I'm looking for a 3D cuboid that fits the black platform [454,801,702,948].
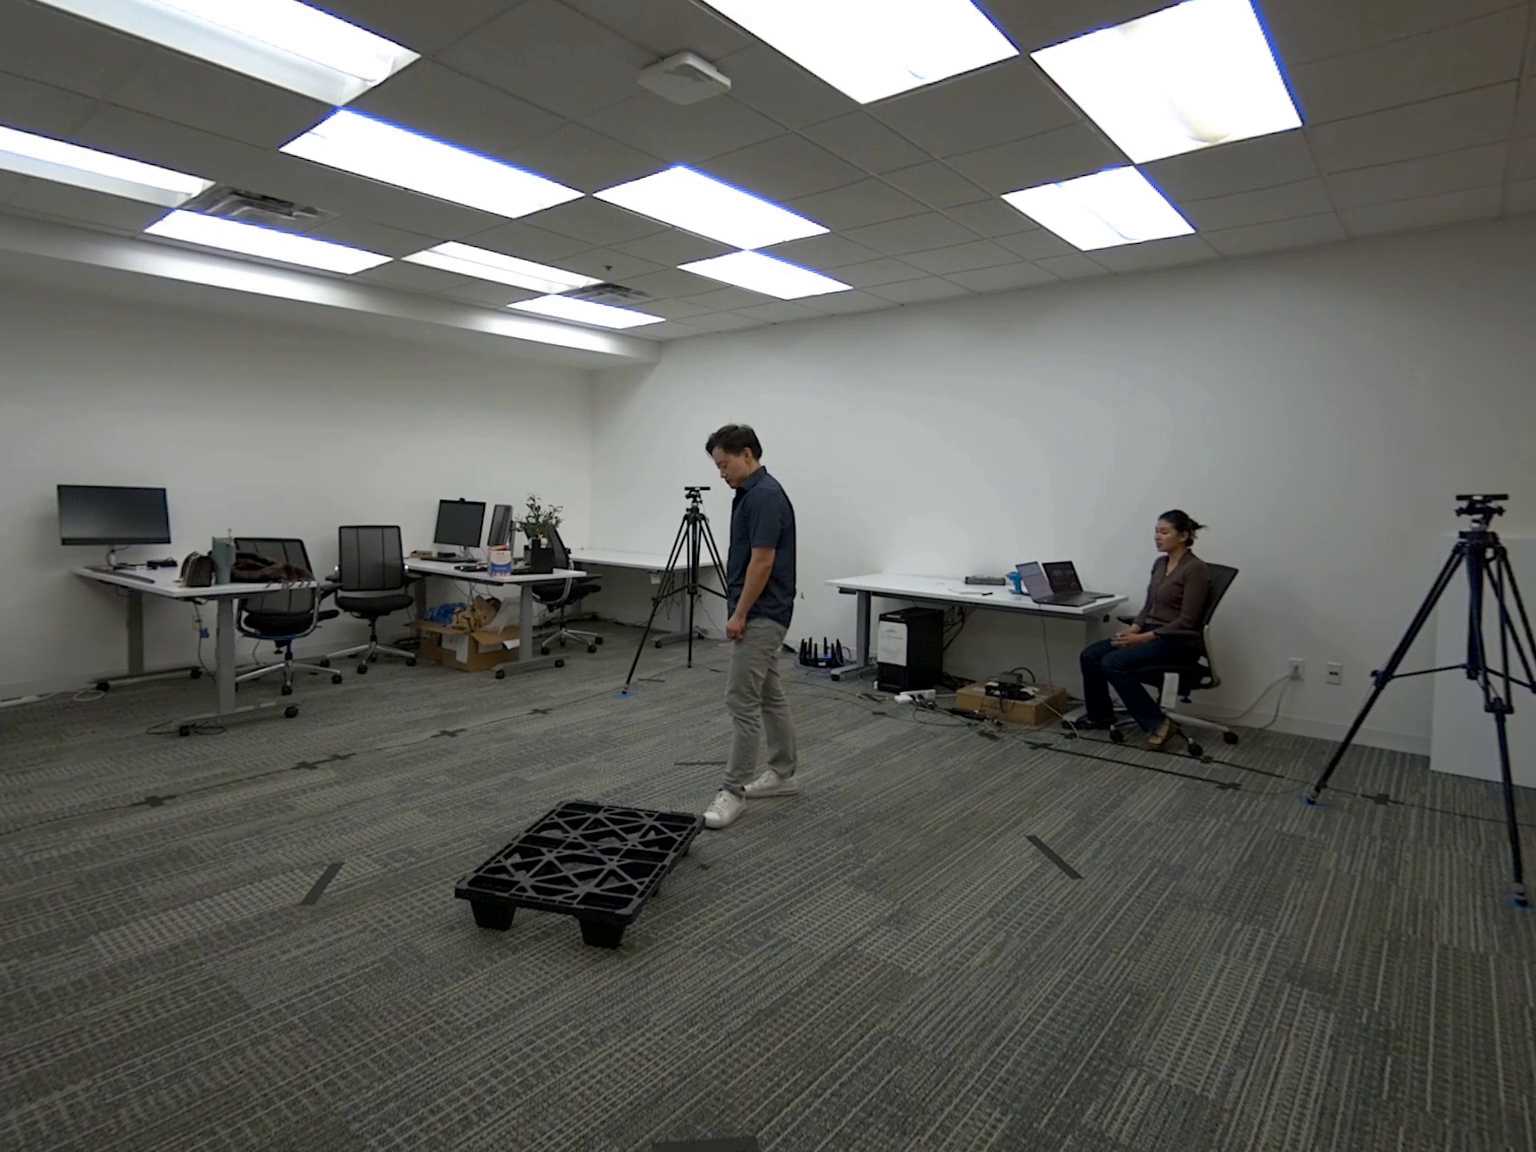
[{"bbox_3d":[-0.623,1.006,2.955,0.615,0.143,0.796,1,5,13],"label":"black platform"}]
